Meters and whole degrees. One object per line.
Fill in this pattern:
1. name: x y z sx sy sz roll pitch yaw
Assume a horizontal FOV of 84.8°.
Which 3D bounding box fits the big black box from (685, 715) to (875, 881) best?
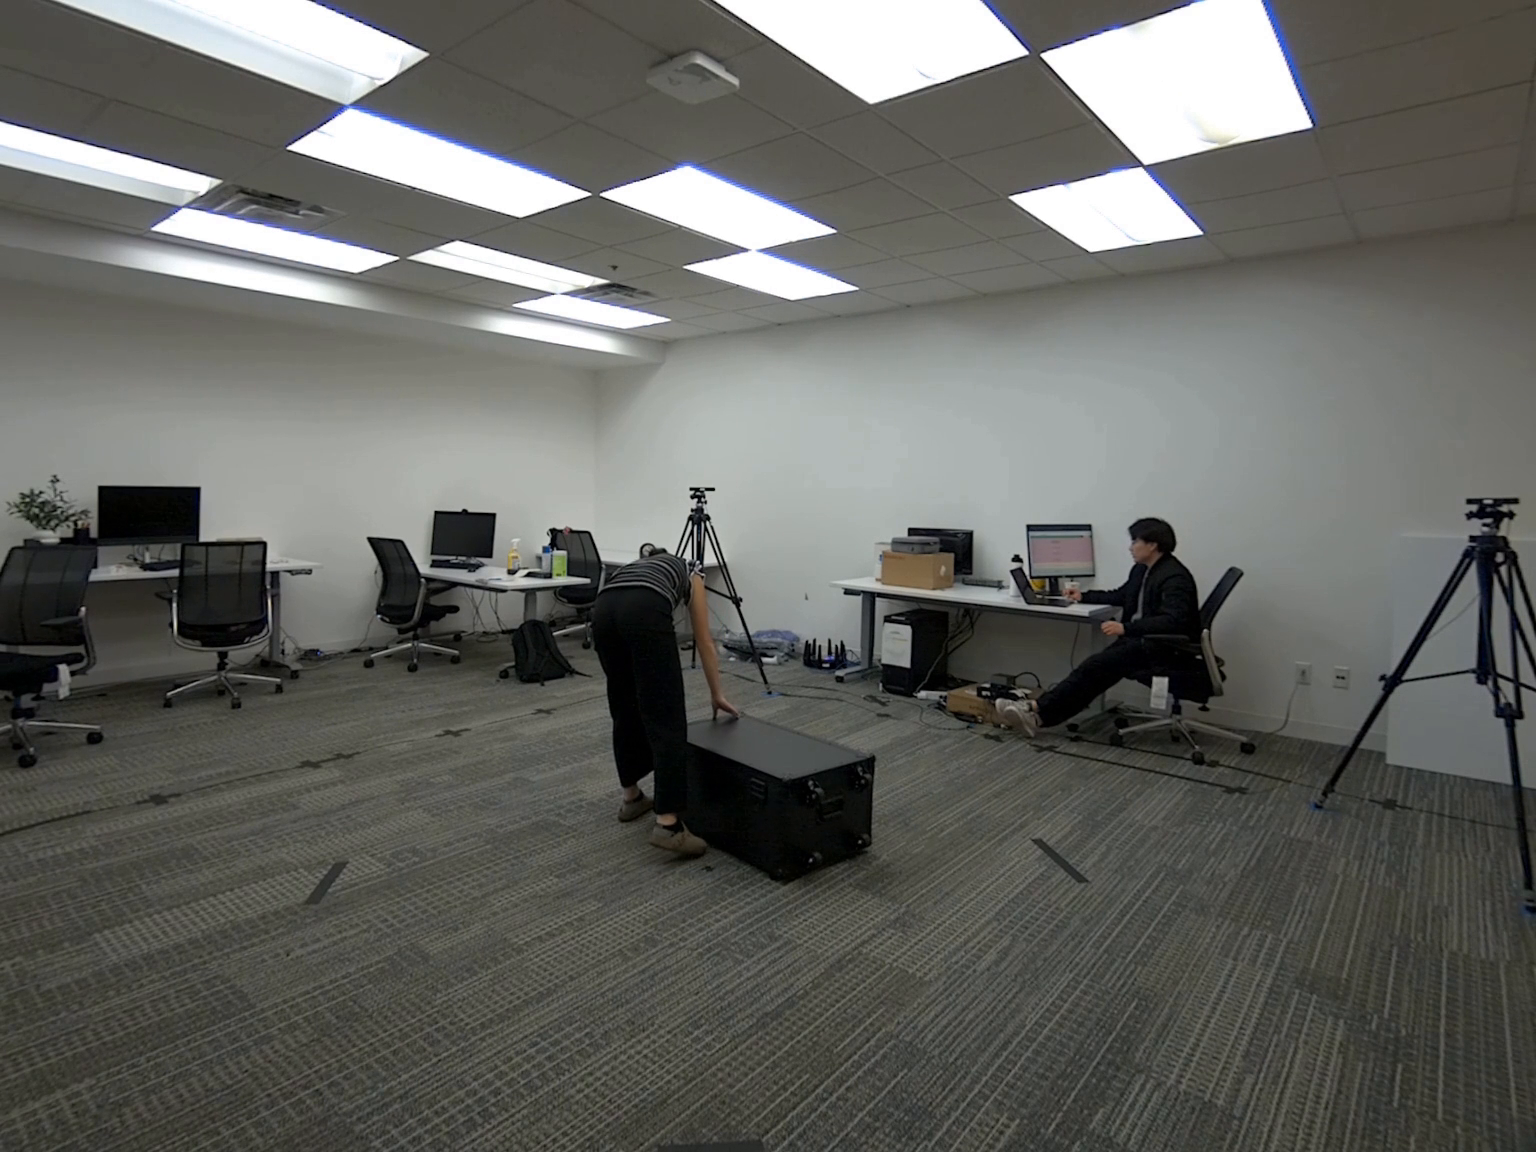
1. big black box: -0.020 0.856 3.394 0.505 0.395 0.891 -3 6 -42
